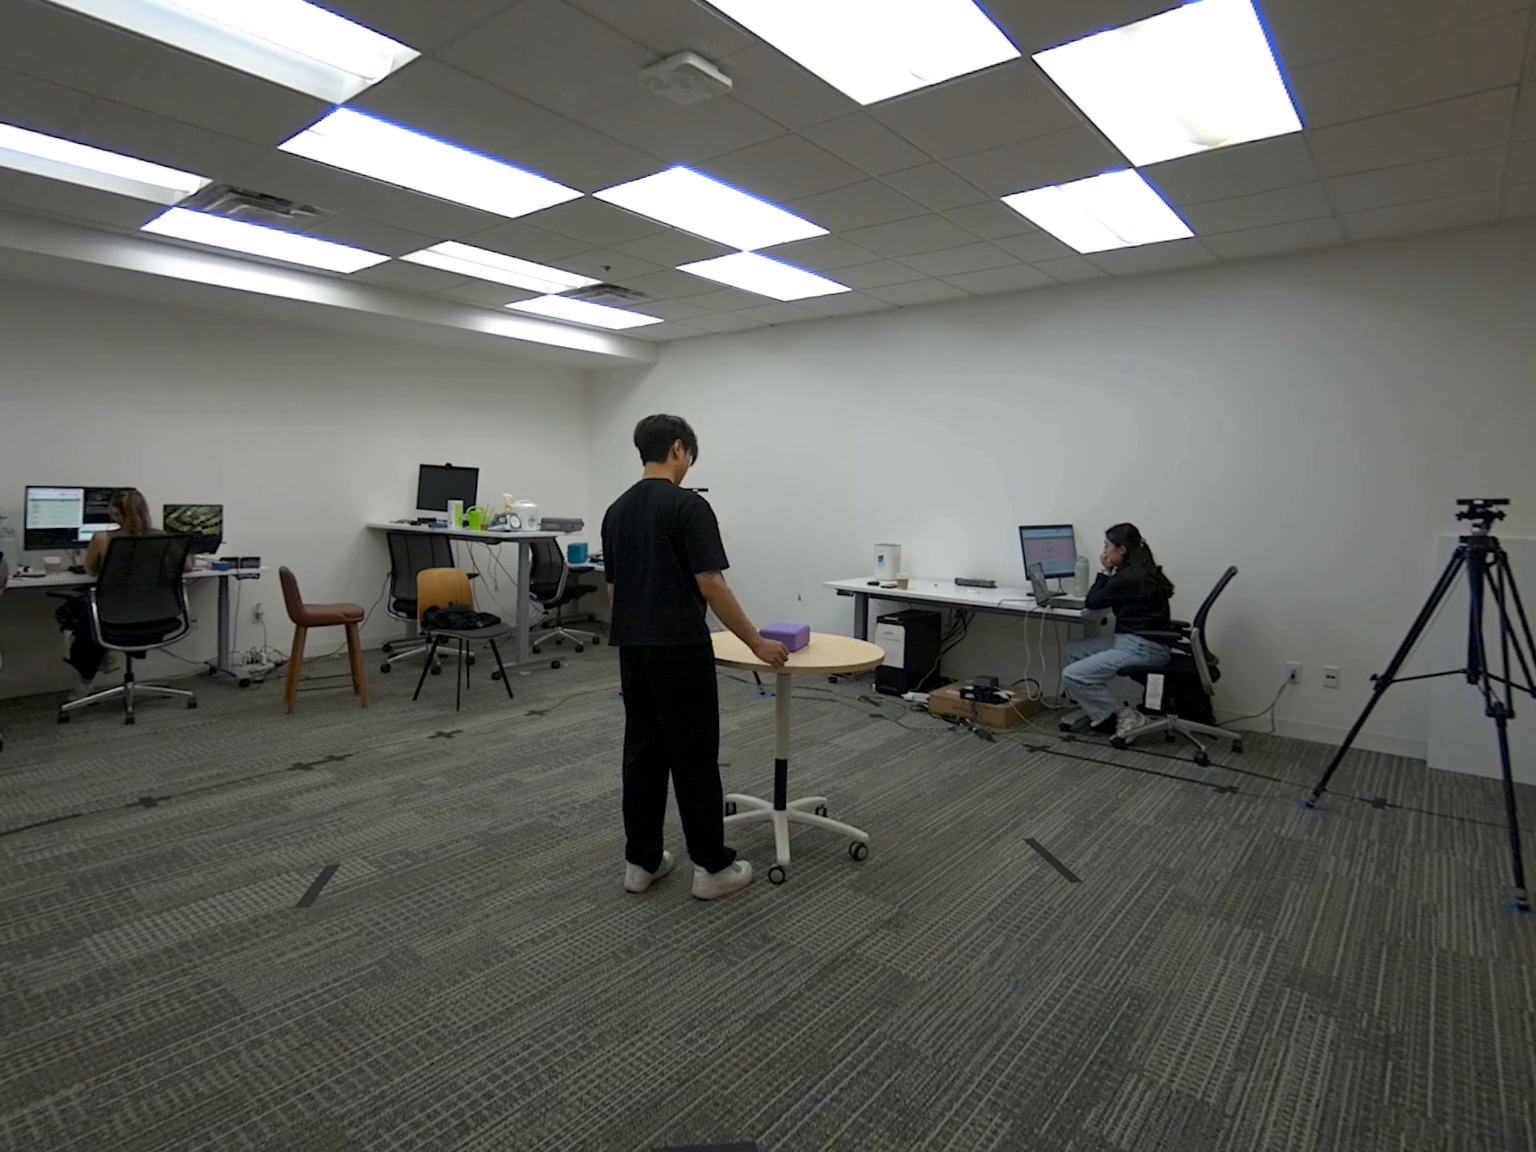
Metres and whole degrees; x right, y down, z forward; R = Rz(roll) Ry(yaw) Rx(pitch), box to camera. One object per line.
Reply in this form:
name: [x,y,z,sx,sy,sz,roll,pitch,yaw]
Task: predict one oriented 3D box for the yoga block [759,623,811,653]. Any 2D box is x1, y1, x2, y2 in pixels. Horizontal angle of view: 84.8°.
yoga block: [0.061,0.233,3.322,0.152,0.076,0.226,2,5,16]
